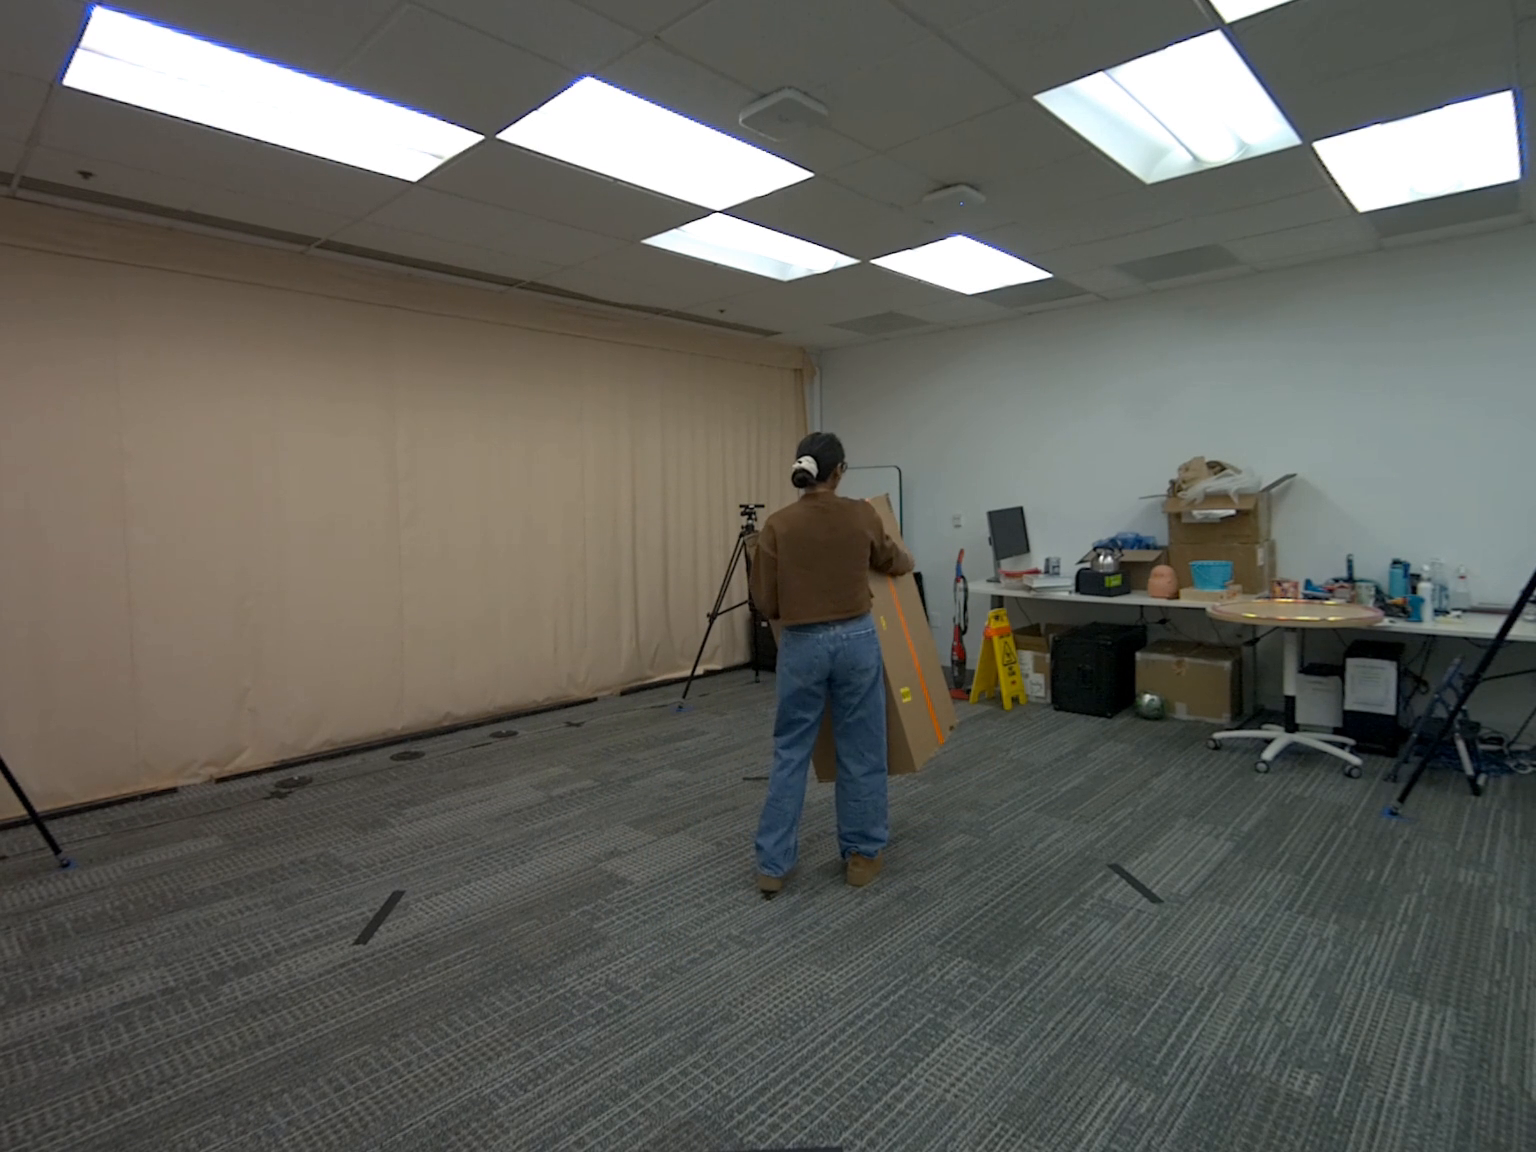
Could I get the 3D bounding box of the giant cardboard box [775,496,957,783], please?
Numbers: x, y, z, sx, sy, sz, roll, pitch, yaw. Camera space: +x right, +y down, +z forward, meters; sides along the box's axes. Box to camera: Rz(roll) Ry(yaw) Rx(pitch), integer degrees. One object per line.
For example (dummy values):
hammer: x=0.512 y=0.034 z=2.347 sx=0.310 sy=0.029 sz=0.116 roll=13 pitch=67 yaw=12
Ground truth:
giant cardboard box: x=0.358 y=0.236 z=3.461 sx=0.436 sy=1.026 sz=0.564 roll=-17 pitch=0 yaw=31
